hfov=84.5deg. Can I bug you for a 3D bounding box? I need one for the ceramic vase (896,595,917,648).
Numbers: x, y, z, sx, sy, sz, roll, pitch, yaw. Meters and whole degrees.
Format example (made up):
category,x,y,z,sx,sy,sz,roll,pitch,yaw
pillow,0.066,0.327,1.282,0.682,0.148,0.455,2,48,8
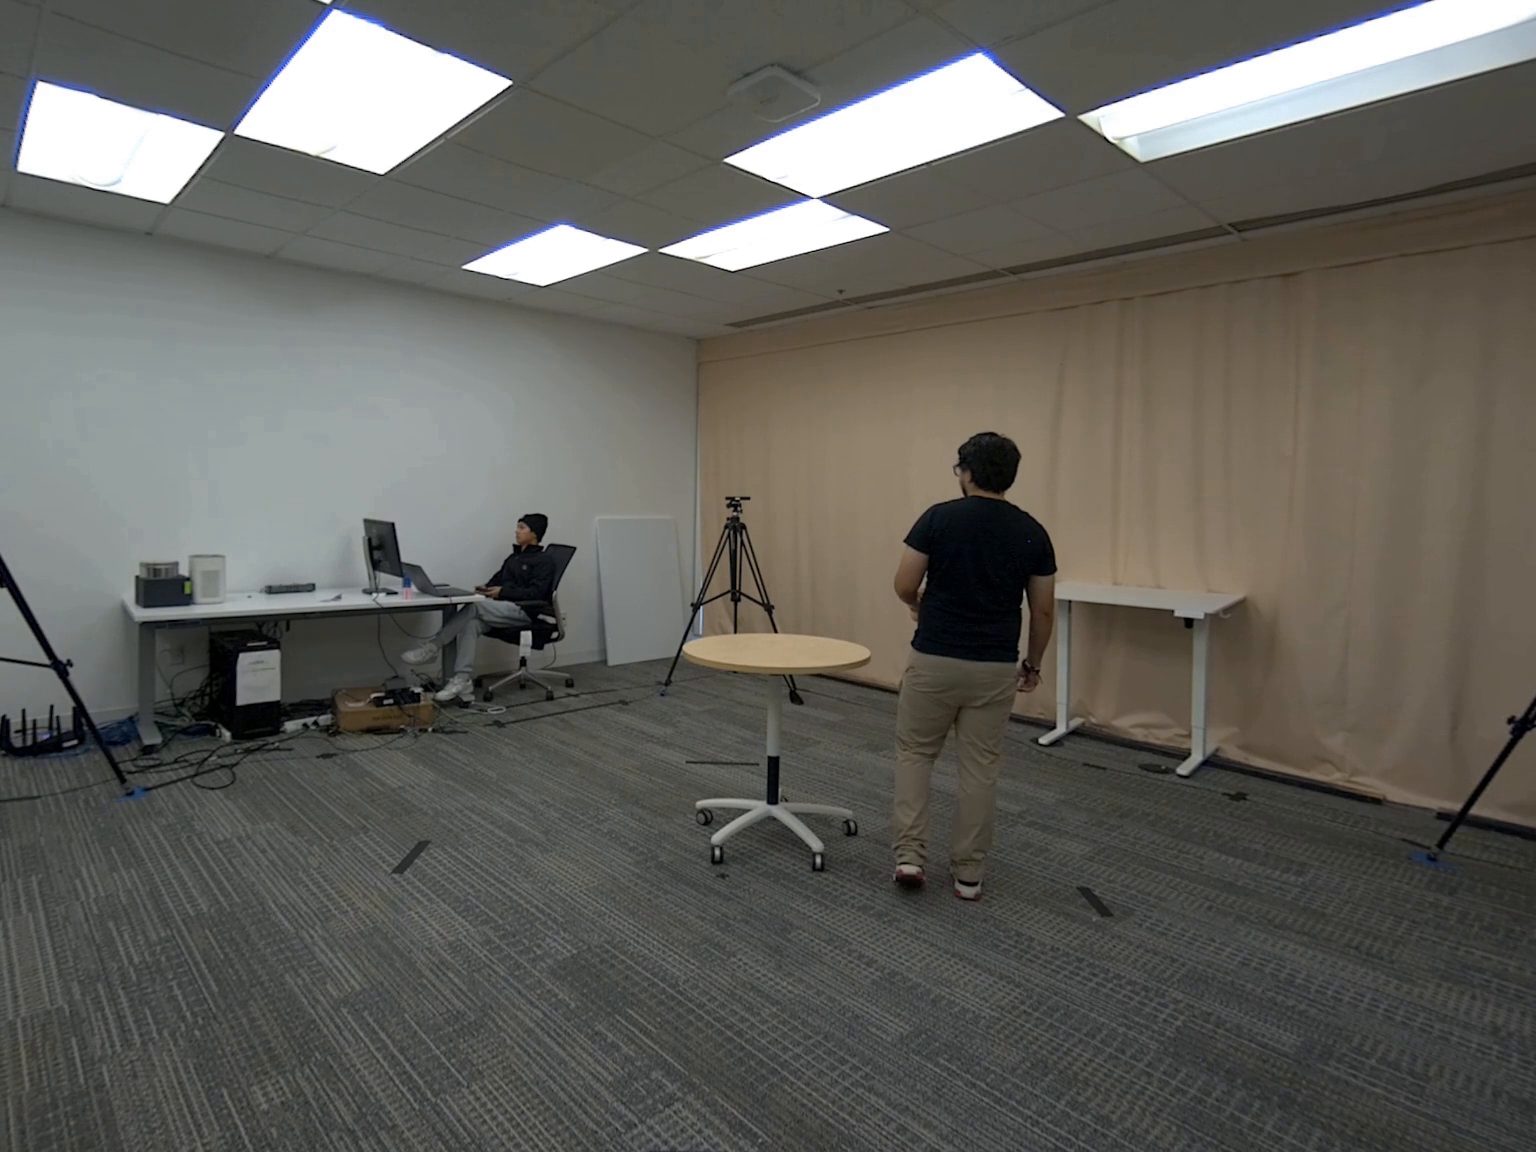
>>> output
category,x,y,z,sx,sy,sz,roll,pitch,yaw
ceramic vase,0.628,0.168,3.397,0.156,0.222,0.136,3,-13,-24
